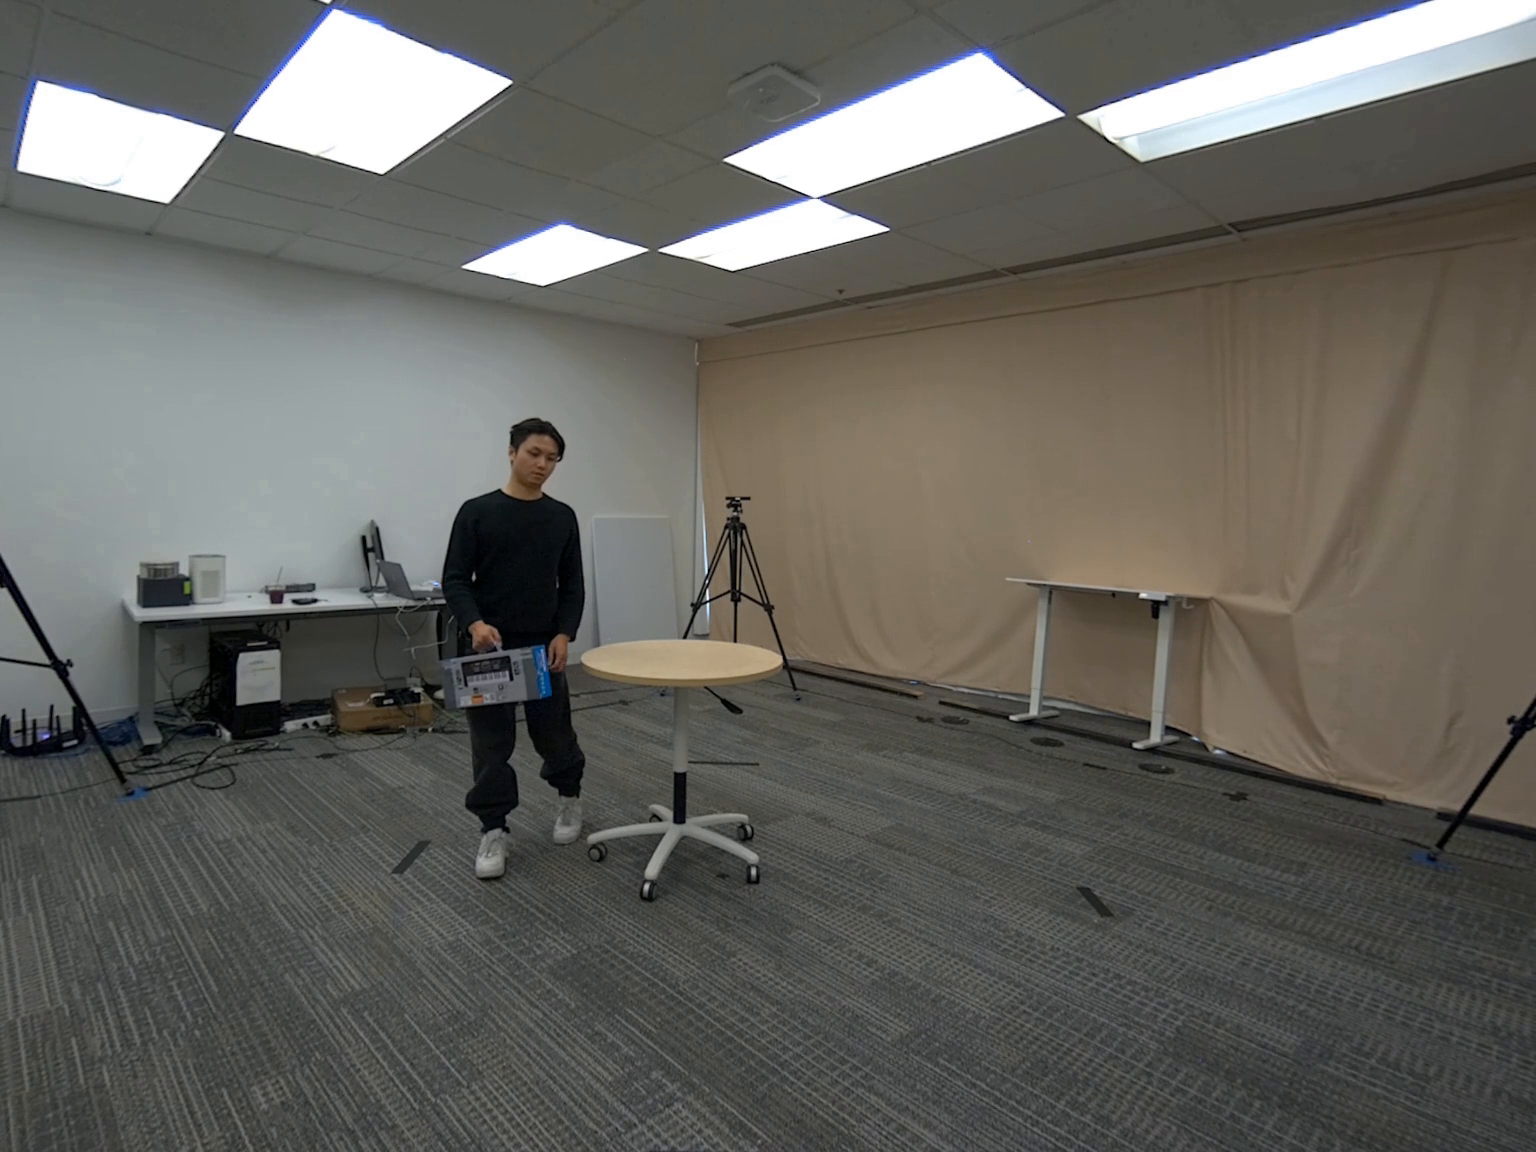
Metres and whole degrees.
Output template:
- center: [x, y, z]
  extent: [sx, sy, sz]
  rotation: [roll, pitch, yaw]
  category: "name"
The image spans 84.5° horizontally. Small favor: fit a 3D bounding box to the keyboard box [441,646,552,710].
- center: [-0.949, 0.353, 2.880]
  extent: [0.444, 0.176, 0.058]
  rotation: [-10, -4, 27]
  category: "keyboard box"
